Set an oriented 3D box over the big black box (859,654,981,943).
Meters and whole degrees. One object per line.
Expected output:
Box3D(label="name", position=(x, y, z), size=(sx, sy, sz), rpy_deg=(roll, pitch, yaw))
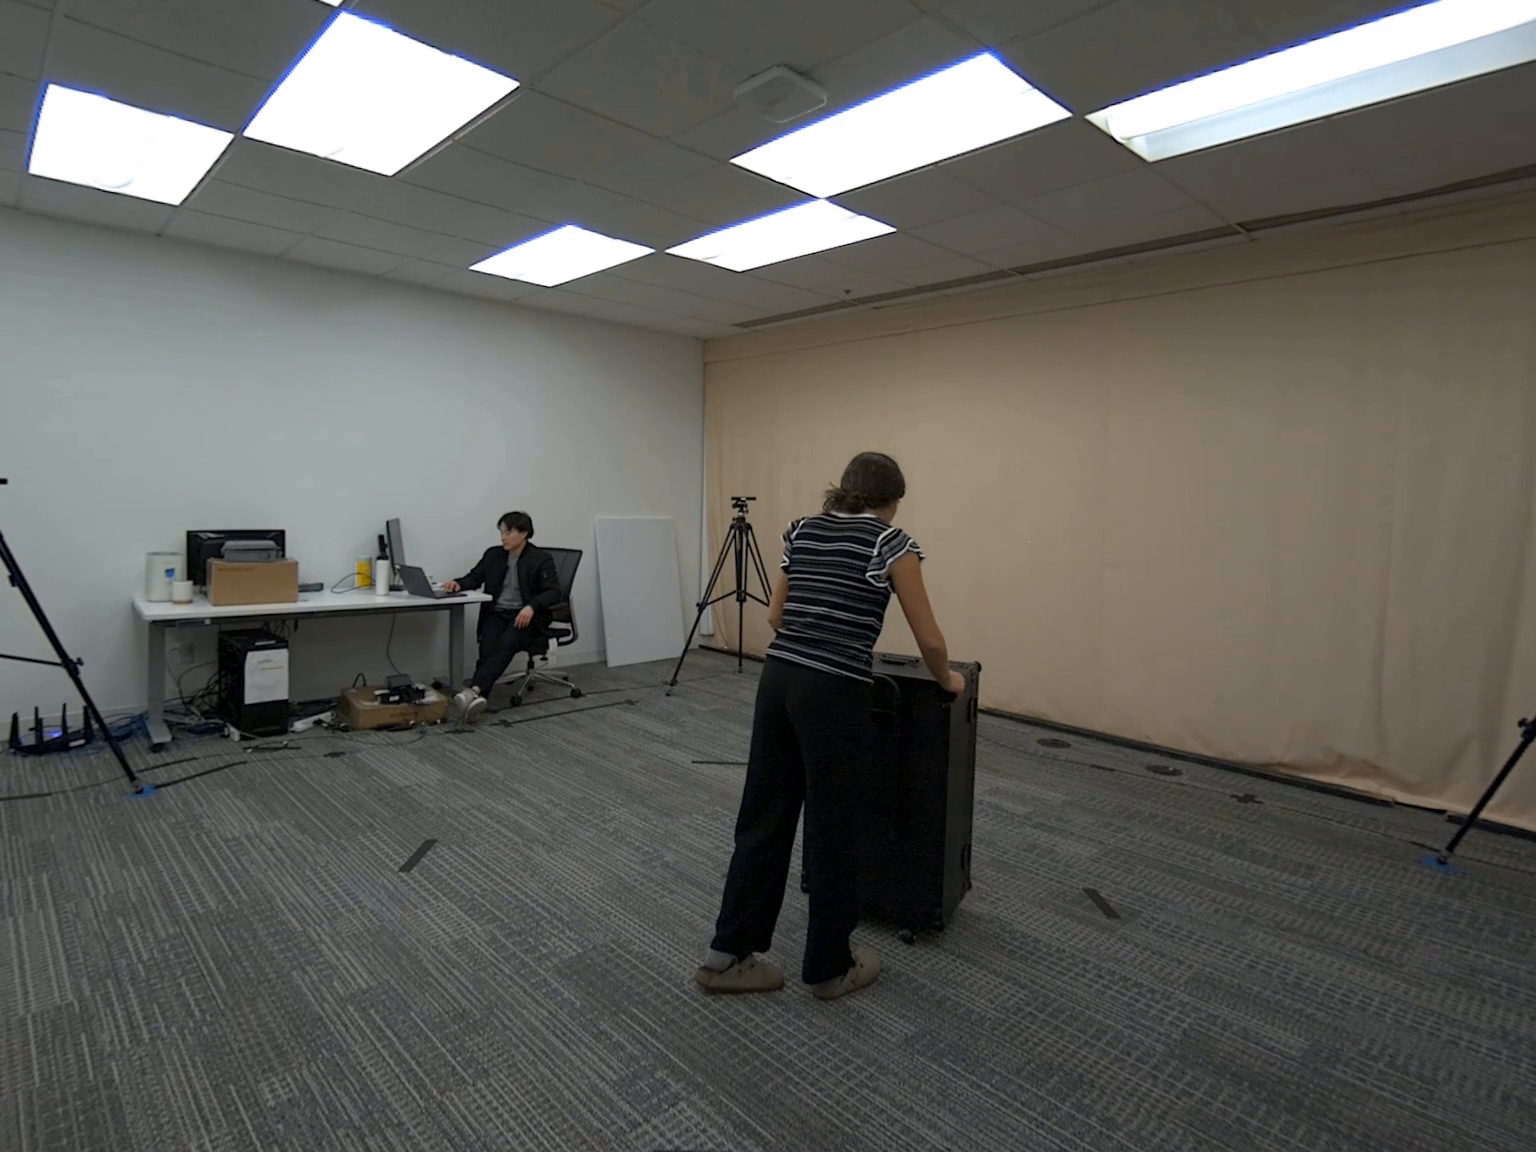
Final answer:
Box3D(label="big black box", position=(0.409, 0.721, 2.831), size=(0.533, 0.859, 0.389), rpy_deg=(4, 5, 29))
